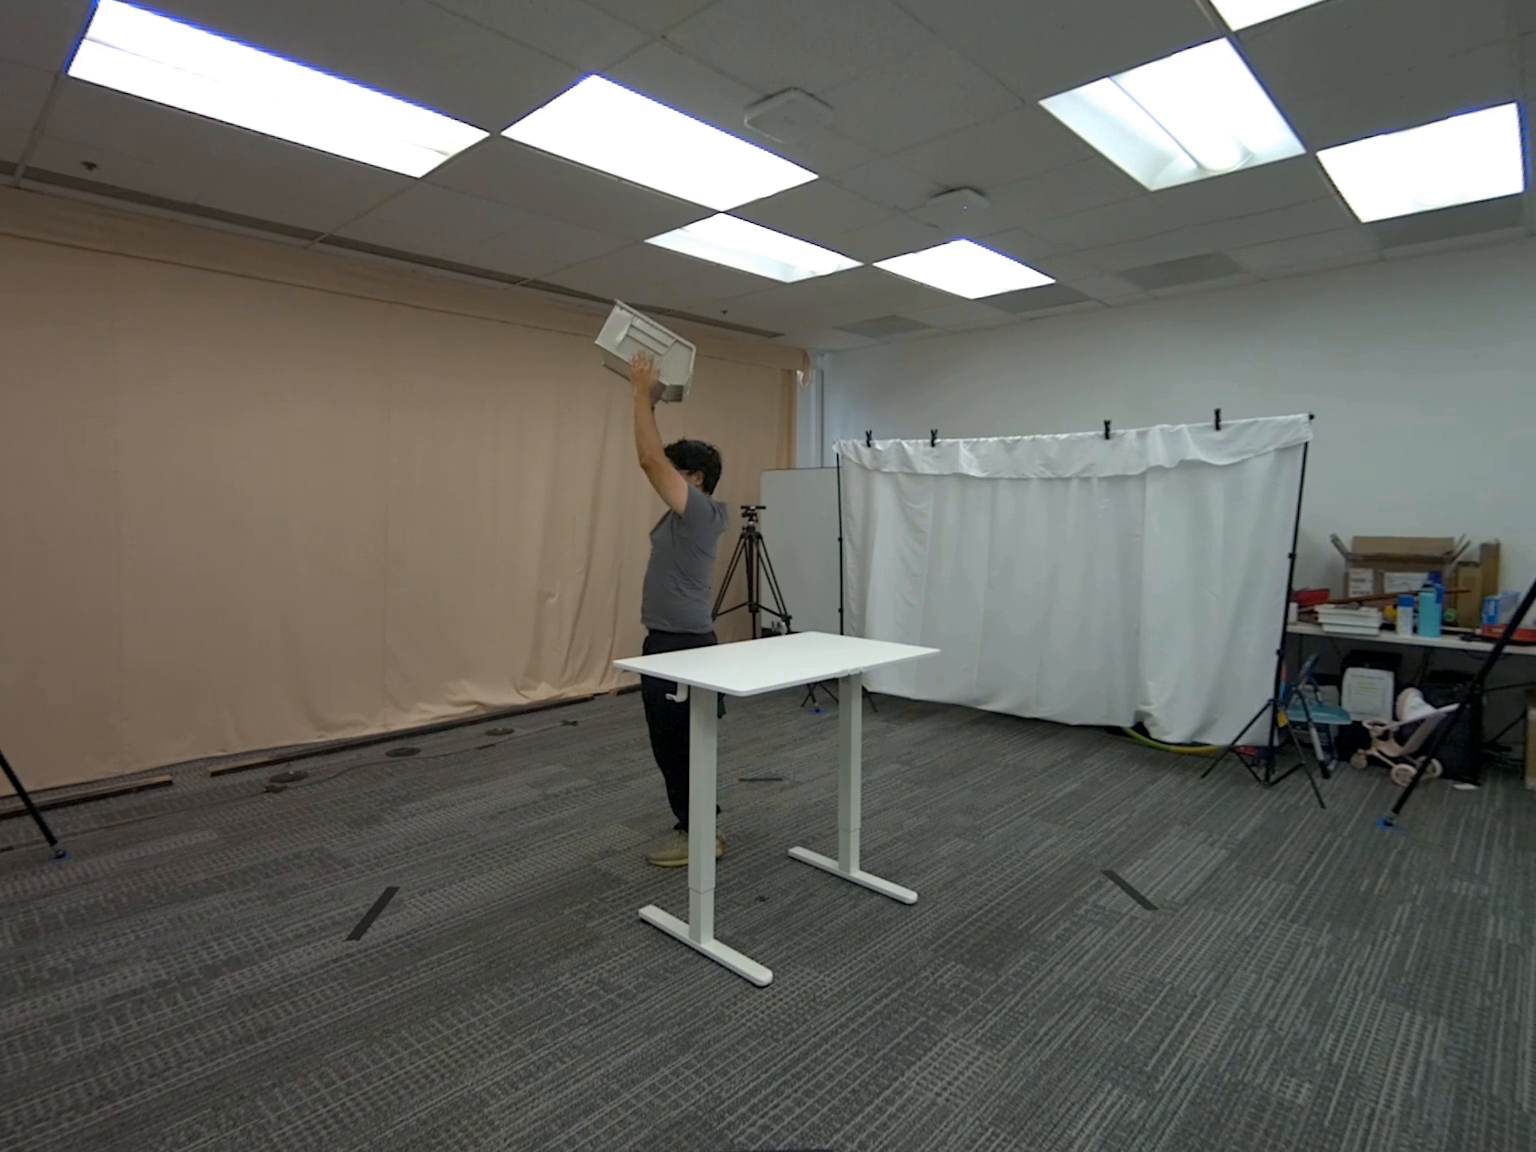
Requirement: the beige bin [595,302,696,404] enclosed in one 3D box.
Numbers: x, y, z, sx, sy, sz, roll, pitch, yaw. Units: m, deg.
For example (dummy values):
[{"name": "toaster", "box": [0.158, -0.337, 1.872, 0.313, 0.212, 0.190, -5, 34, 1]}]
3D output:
[{"name": "beige bin", "box": [-0.468, -0.852, 3.305, 0.375, 0.189, 0.425, 30, 0, -6]}]
